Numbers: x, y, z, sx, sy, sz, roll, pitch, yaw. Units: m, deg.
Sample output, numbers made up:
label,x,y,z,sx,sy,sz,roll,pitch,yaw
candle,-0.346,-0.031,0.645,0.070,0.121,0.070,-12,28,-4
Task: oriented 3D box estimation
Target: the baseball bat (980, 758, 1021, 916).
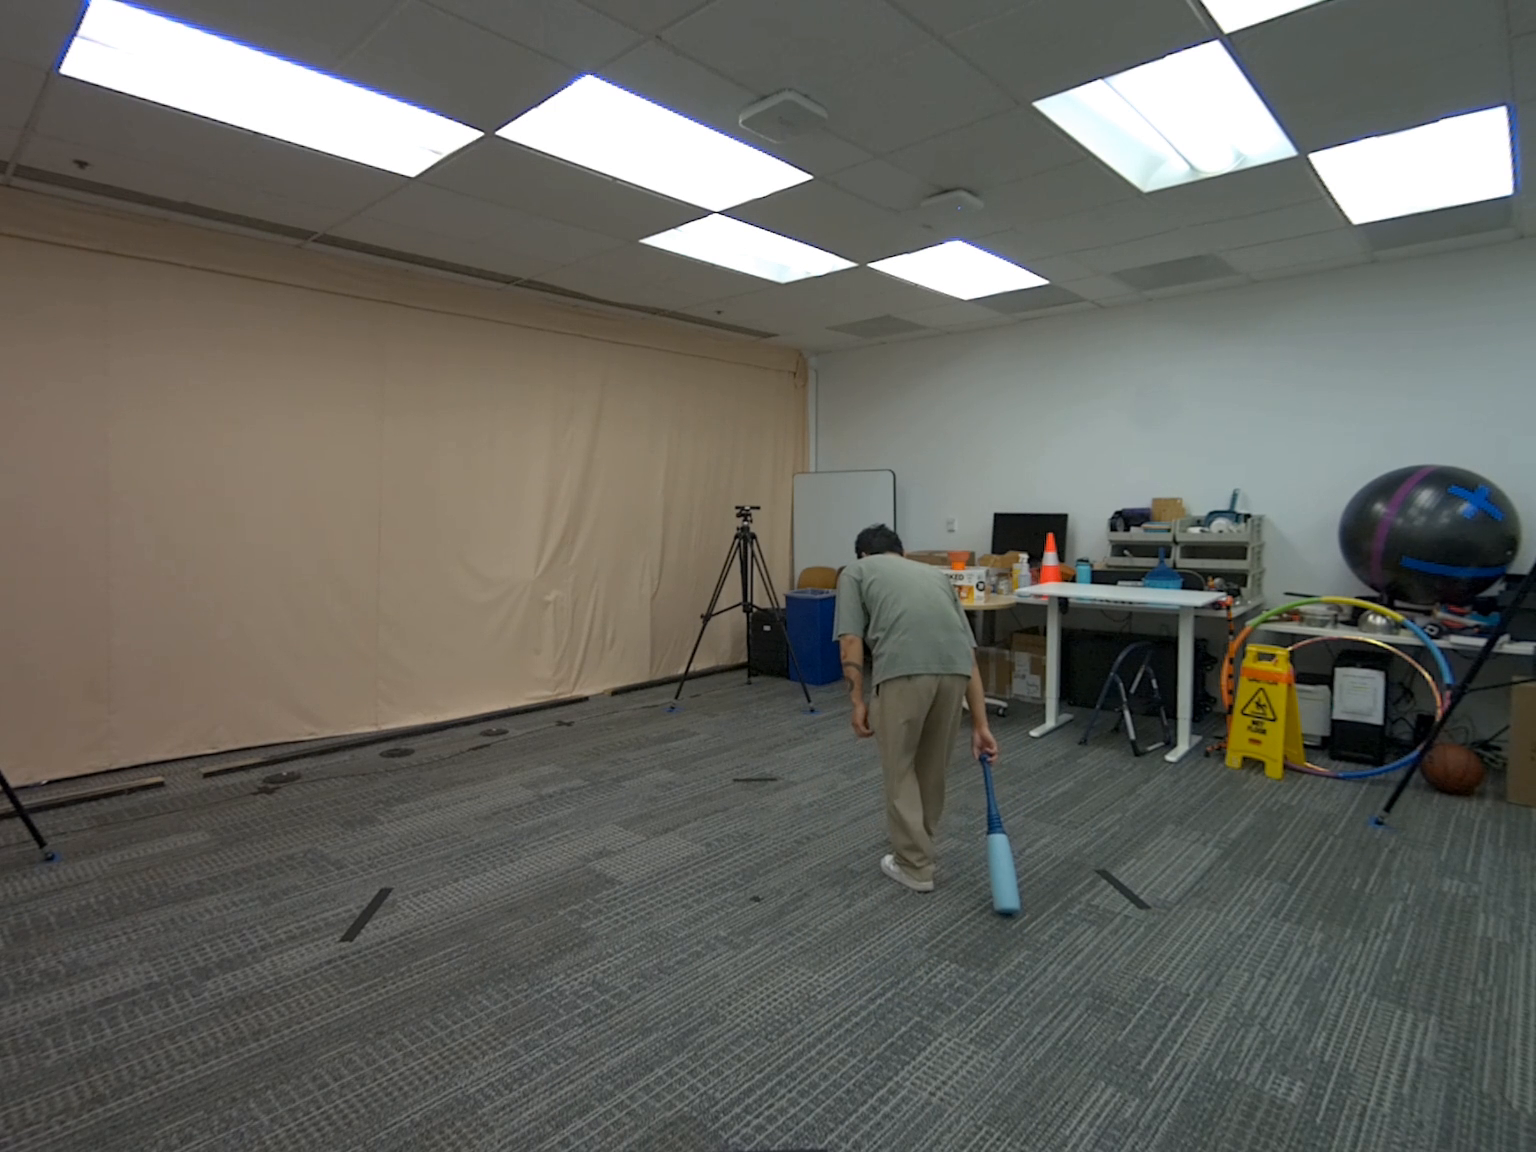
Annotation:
label,x,y,z,sx,sy,sz,roll,pitch,yaw
baseball bat,0.818,0.904,2.981,0.089,0.551,0.087,2,-31,-1
